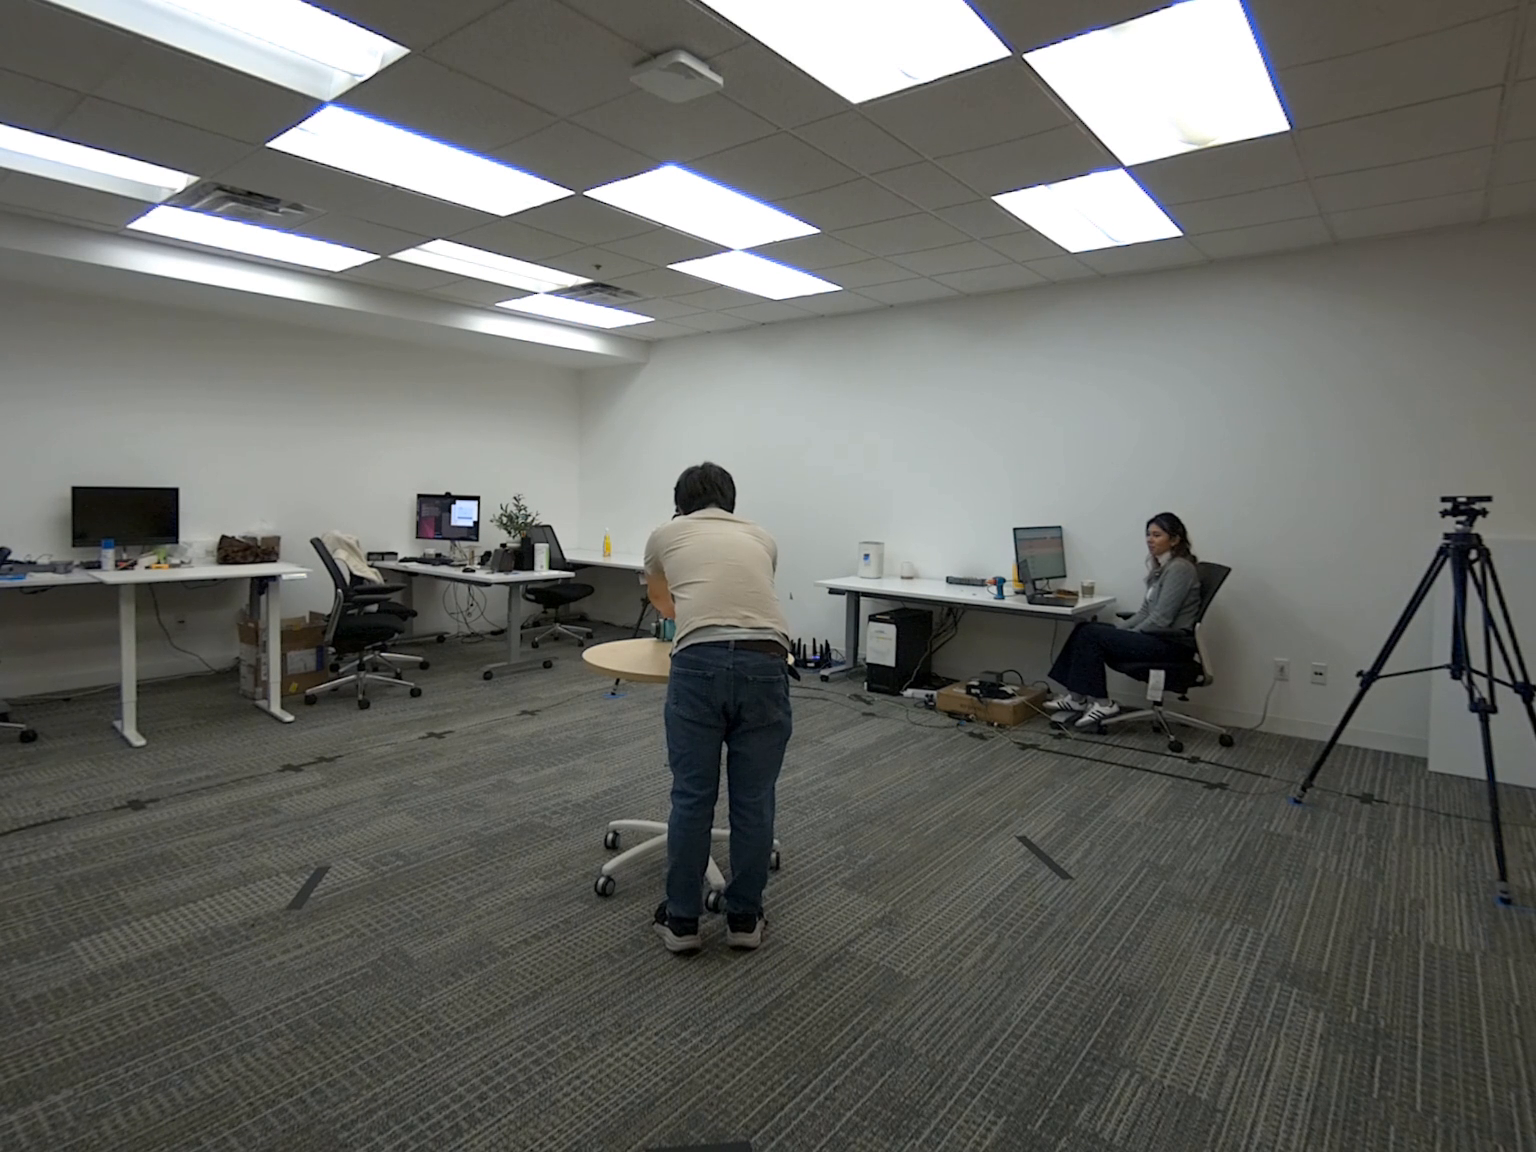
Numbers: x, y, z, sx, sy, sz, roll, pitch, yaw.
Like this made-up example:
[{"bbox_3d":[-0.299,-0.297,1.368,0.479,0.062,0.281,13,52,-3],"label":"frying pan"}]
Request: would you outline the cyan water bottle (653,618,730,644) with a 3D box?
[{"bbox_3d":[-0.334,0.213,3.396,0.282,0.092,0.093,0,4,-4],"label":"cyan water bottle"}]
